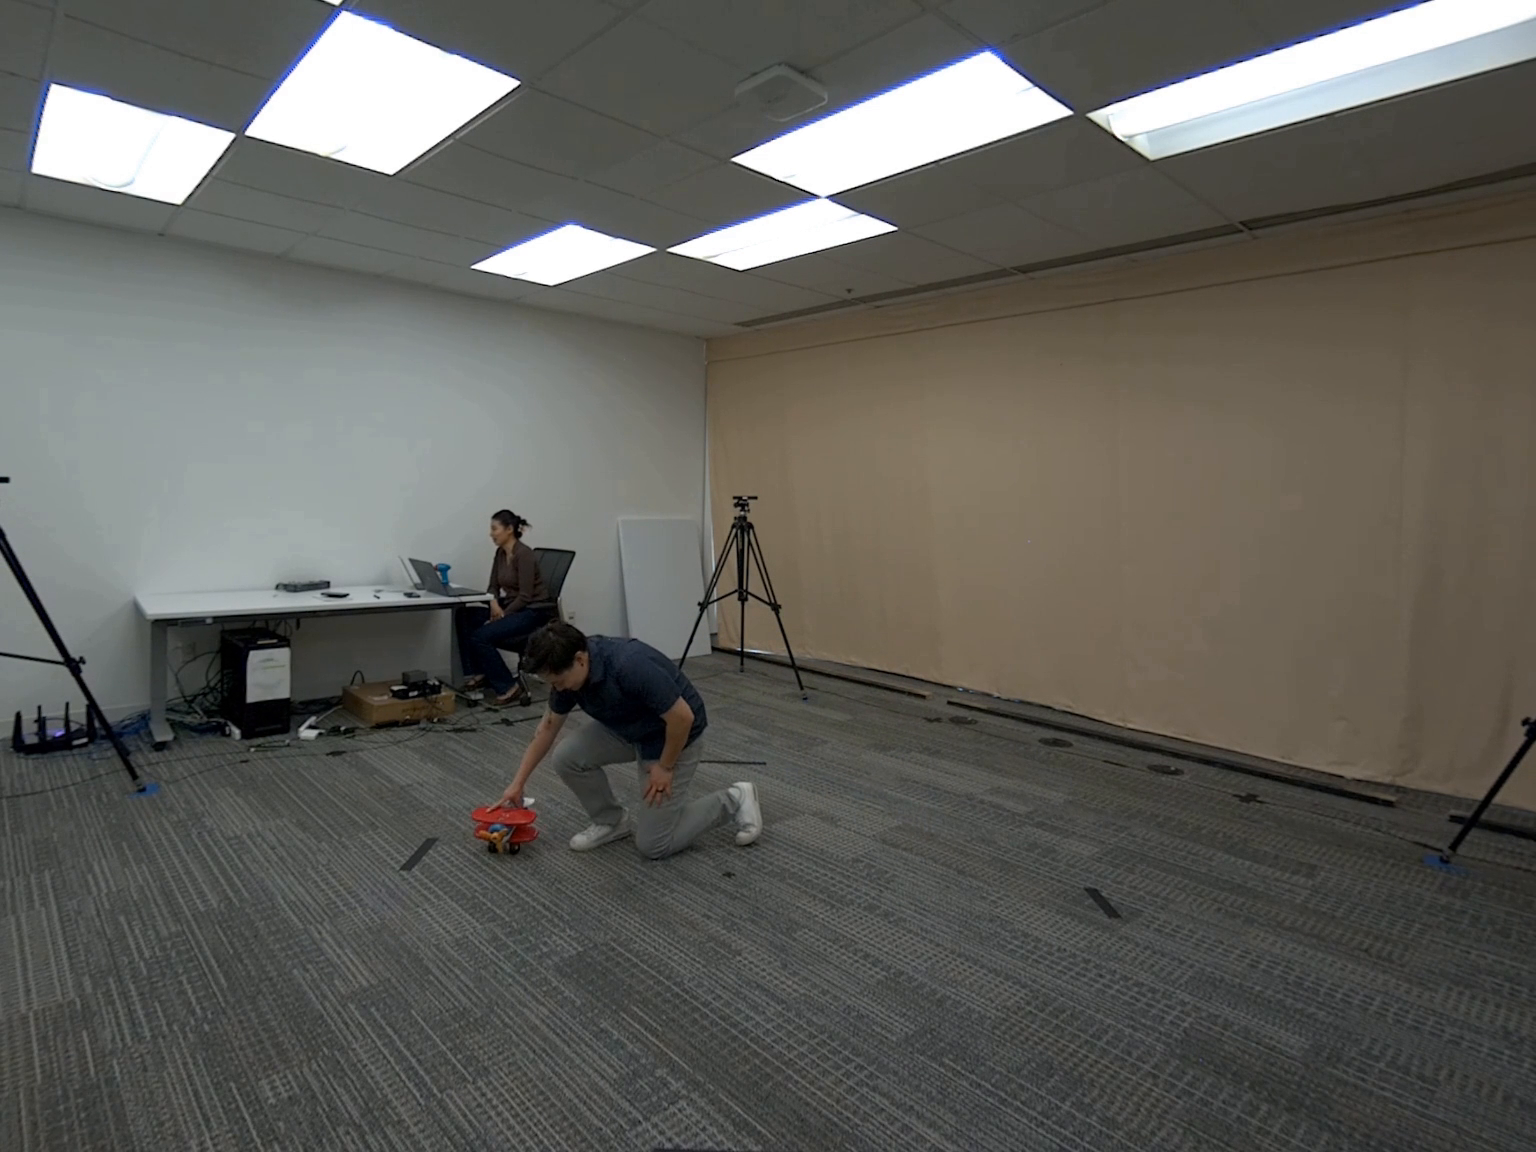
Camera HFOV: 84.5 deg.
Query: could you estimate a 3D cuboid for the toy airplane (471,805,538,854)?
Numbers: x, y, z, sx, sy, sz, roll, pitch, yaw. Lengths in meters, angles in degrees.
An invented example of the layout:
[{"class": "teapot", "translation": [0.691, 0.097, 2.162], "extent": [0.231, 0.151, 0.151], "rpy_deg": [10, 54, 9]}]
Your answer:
[{"class": "toy airplane", "translation": [-1.034, 0.958, 3.292], "extent": [0.249, 0.153, 0.267], "rpy_deg": [-15, 35, -16]}]
